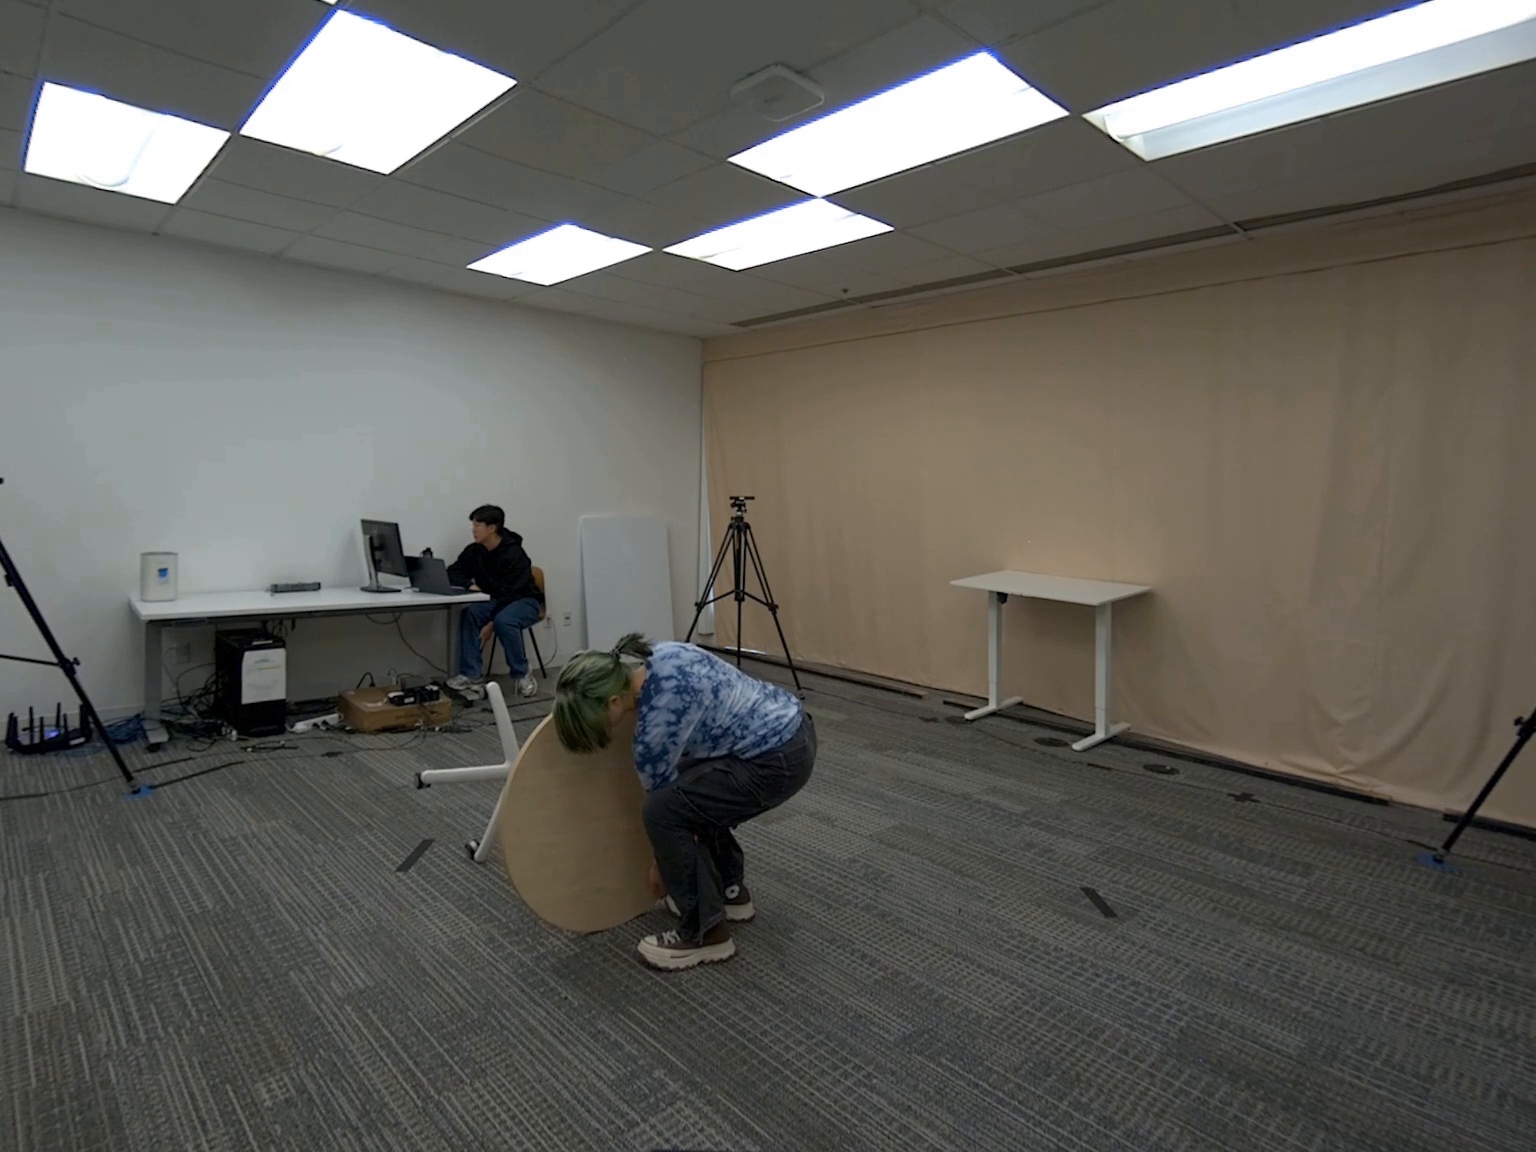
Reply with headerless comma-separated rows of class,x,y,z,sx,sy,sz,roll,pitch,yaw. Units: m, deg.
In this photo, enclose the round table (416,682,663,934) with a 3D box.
round table,-0.783,0.751,3.022,0.746,0.764,0.812,-3,0,-42
